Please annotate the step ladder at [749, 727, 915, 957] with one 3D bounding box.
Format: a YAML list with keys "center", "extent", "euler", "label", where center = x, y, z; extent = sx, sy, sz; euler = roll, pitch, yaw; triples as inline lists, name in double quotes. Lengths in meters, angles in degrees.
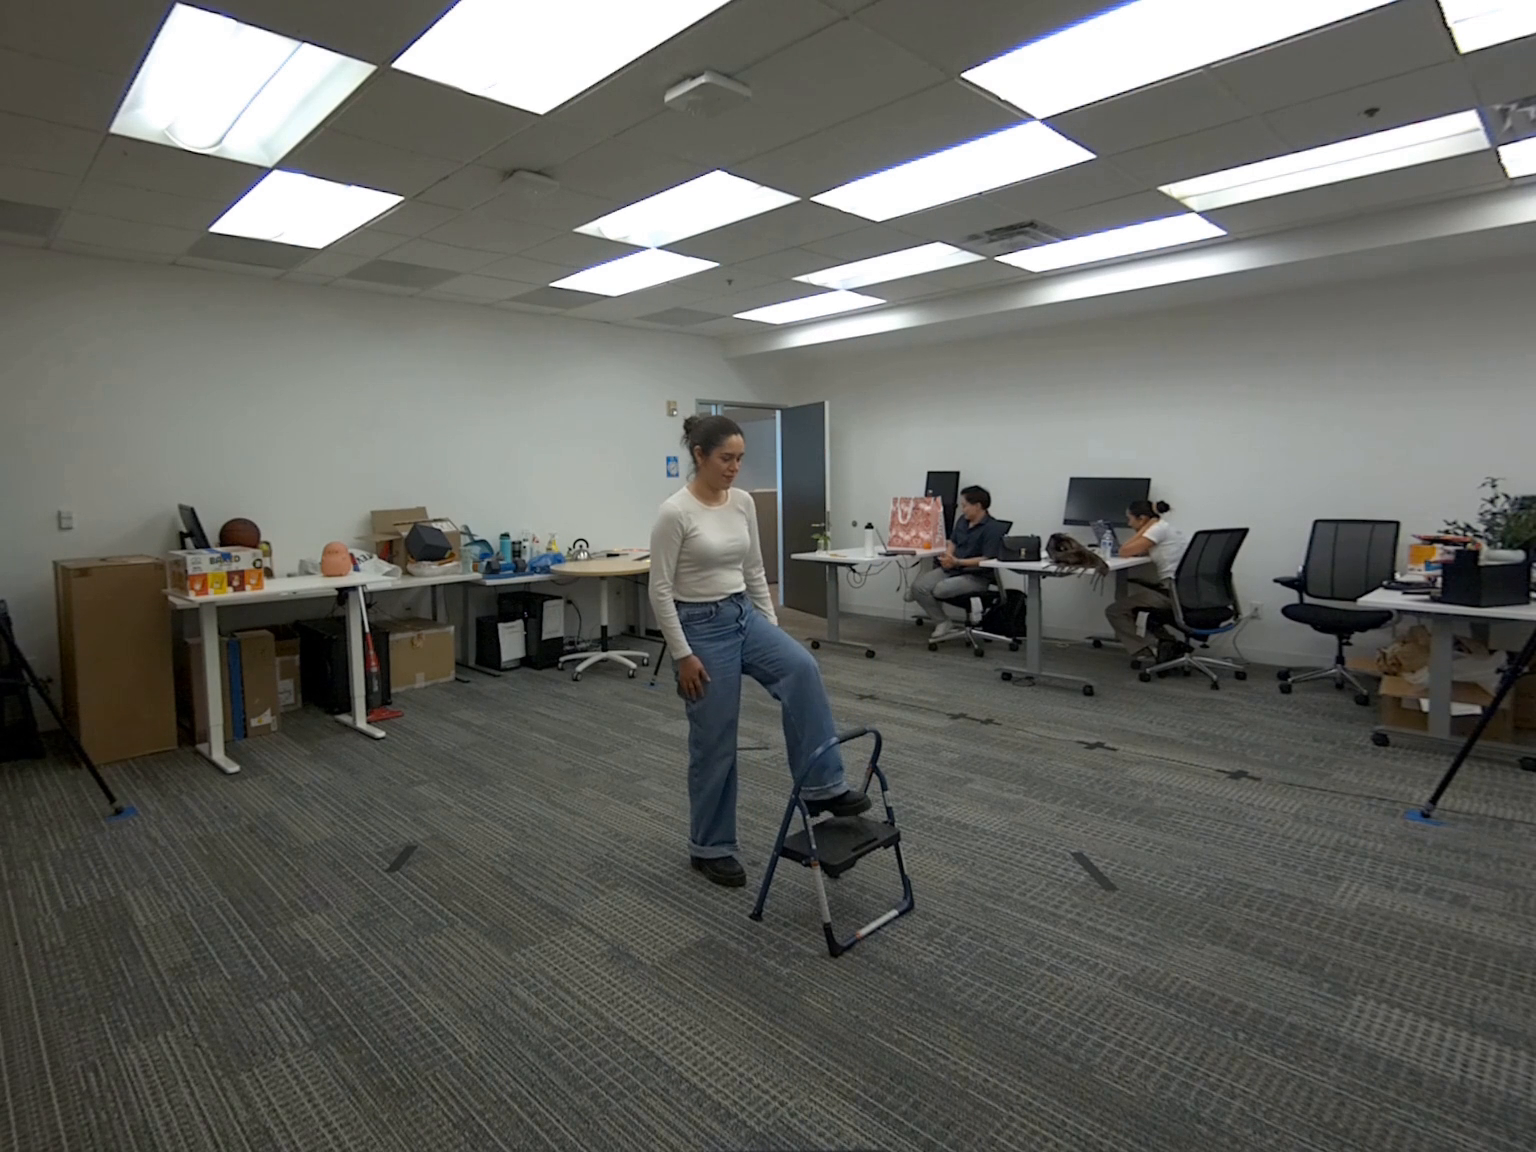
- center: [0.205, 0.779, 2.726]
  extent: [0.360, 0.604, 0.419]
  euler: [3, 6, 44]
  label: "step ladder"
